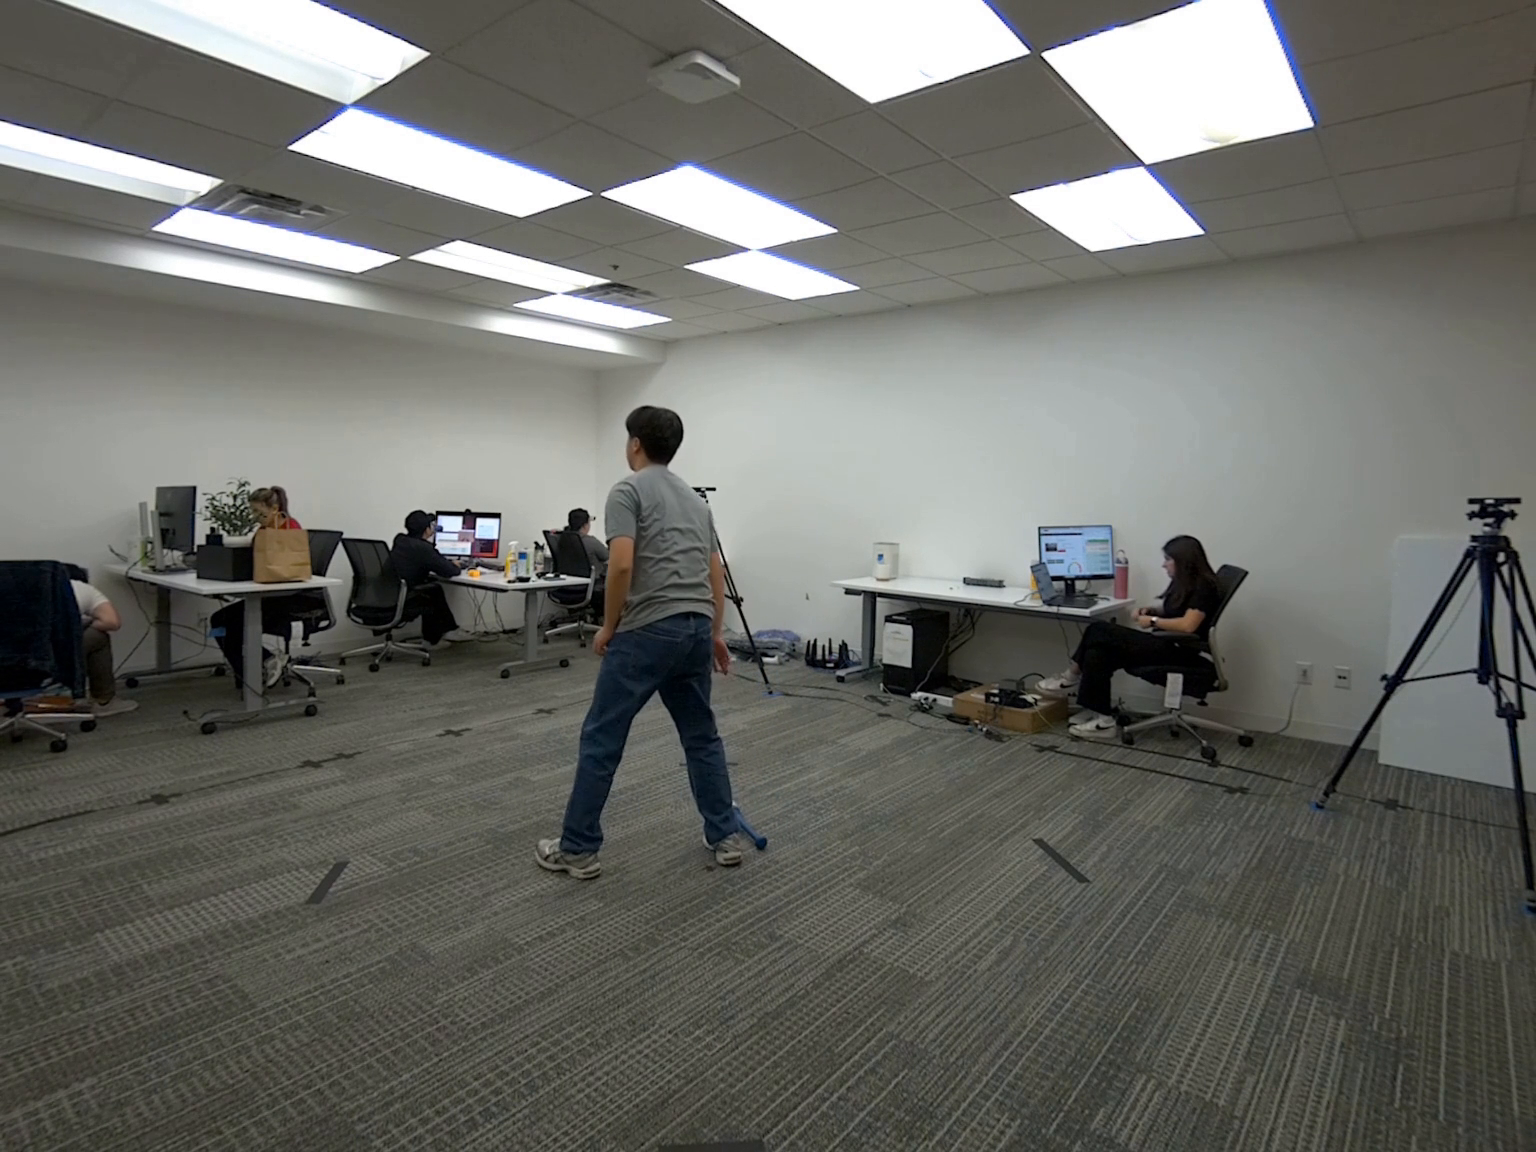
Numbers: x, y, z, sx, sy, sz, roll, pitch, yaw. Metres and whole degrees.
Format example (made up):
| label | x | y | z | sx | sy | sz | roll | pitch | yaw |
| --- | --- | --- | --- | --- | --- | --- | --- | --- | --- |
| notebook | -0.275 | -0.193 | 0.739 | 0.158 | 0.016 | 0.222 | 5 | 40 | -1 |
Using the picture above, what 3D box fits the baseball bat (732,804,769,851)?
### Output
| label | x | y | z | sx | sy | sz | roll | pitch | yaw |
| --- | --- | --- | --- | --- | --- | --- | --- | --- | --- |
| baseball bat | -0.150 | 0.988 | 3.525 | 0.087 | 0.088 | 0.559 | -1 | 9 | -24 |
